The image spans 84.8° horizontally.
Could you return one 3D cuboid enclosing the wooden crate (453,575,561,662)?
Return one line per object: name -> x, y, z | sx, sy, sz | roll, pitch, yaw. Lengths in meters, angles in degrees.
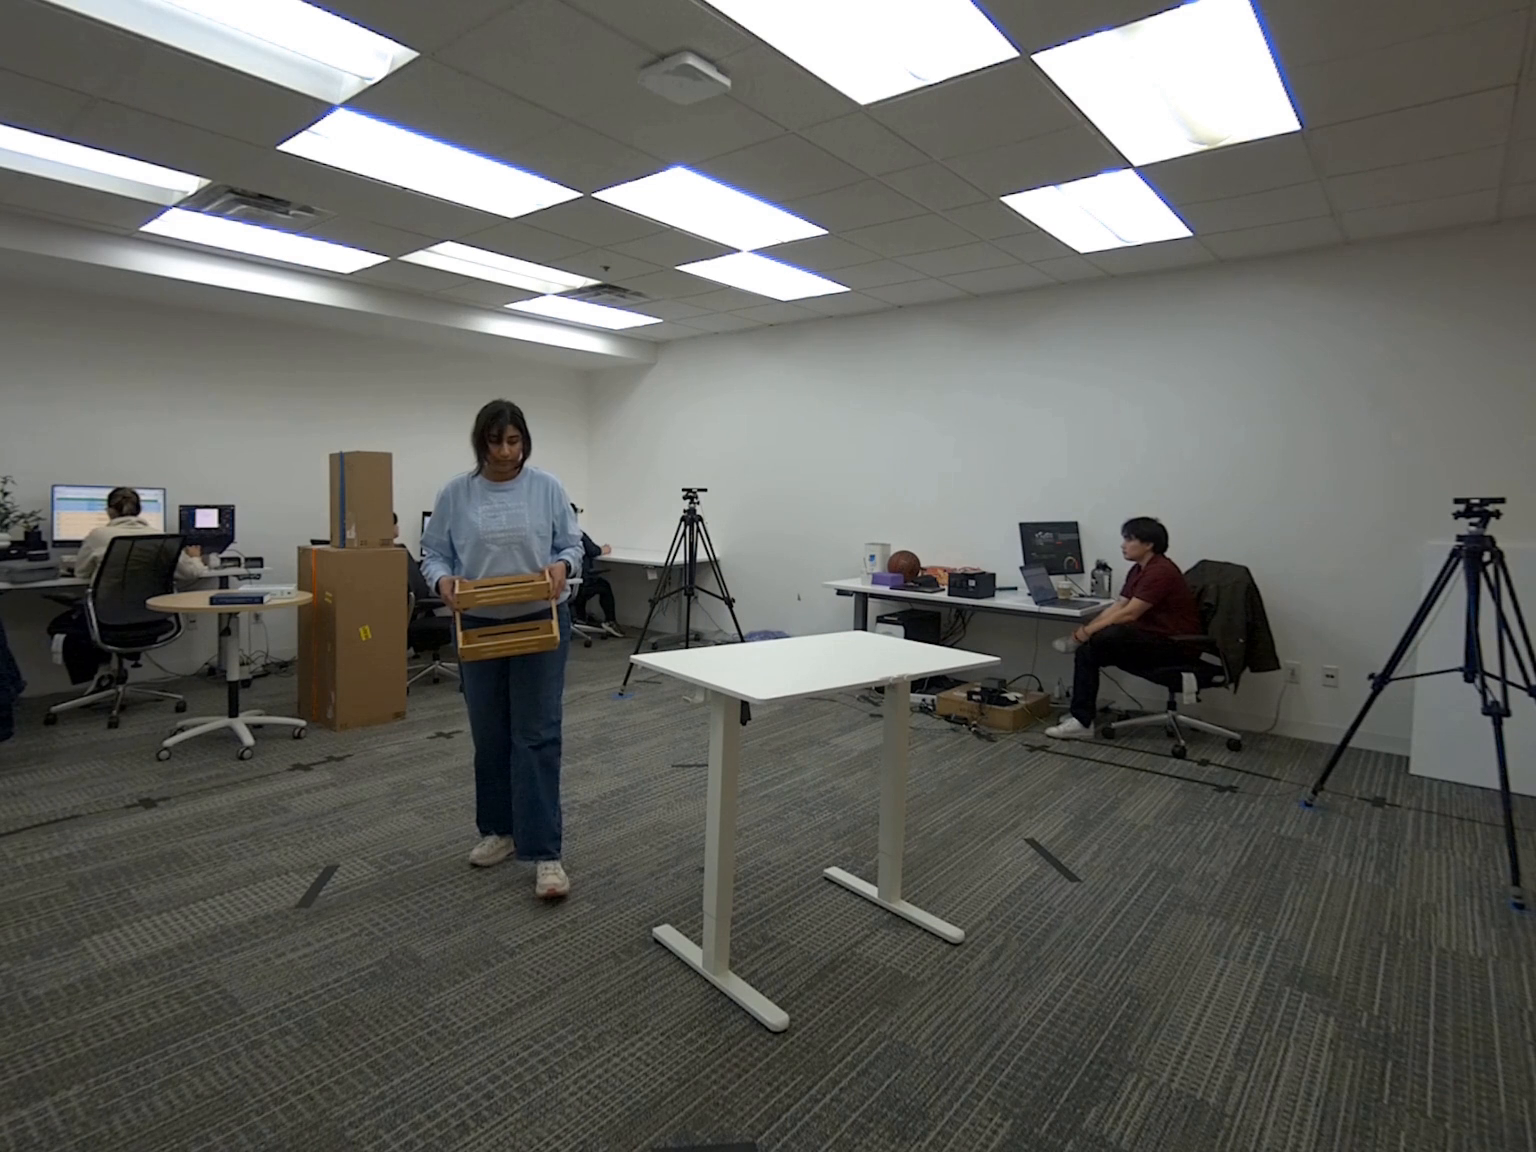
wooden crate -> -0.892, 0.119, 2.832 | 0.321, 0.274, 0.304 | -7, 0, -11
